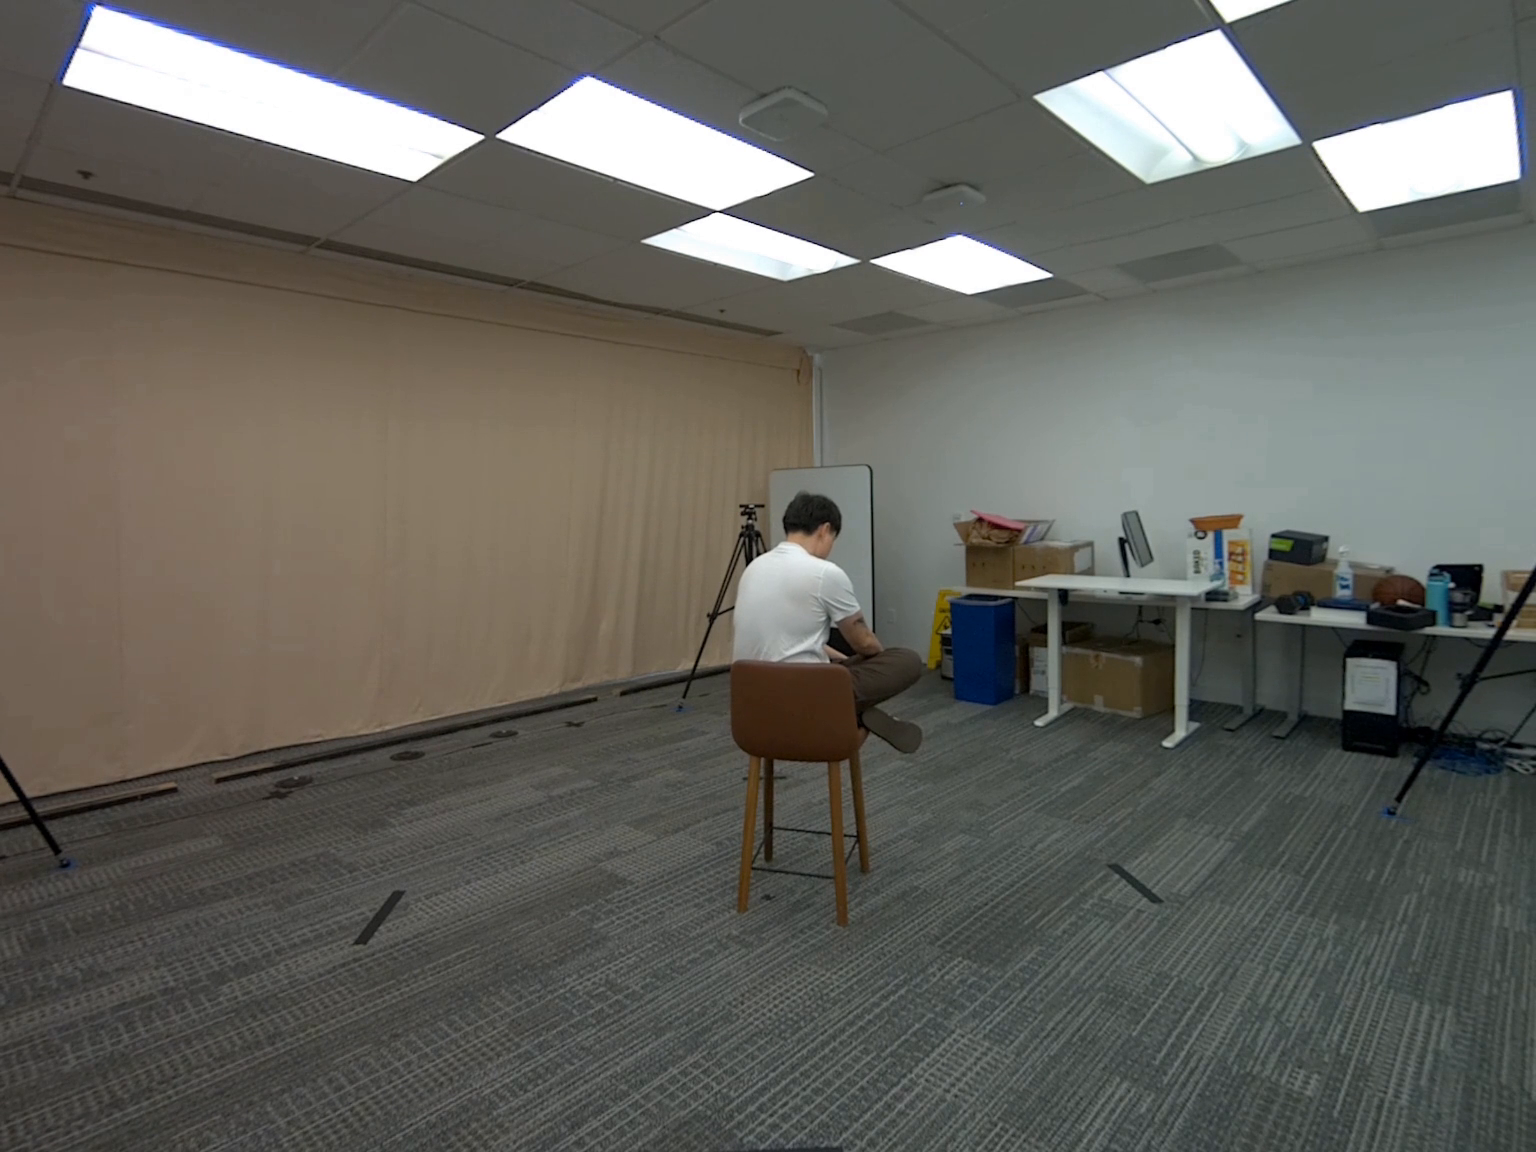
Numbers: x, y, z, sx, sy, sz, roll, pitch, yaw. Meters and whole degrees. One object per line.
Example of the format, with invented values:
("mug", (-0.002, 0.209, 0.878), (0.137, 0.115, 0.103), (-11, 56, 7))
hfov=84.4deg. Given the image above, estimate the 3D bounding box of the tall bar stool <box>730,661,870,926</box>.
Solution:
("tall bar stool", (0.125, 0.705, 3.003), (0.466, 0.886, 0.460), (0, 6, 18))
